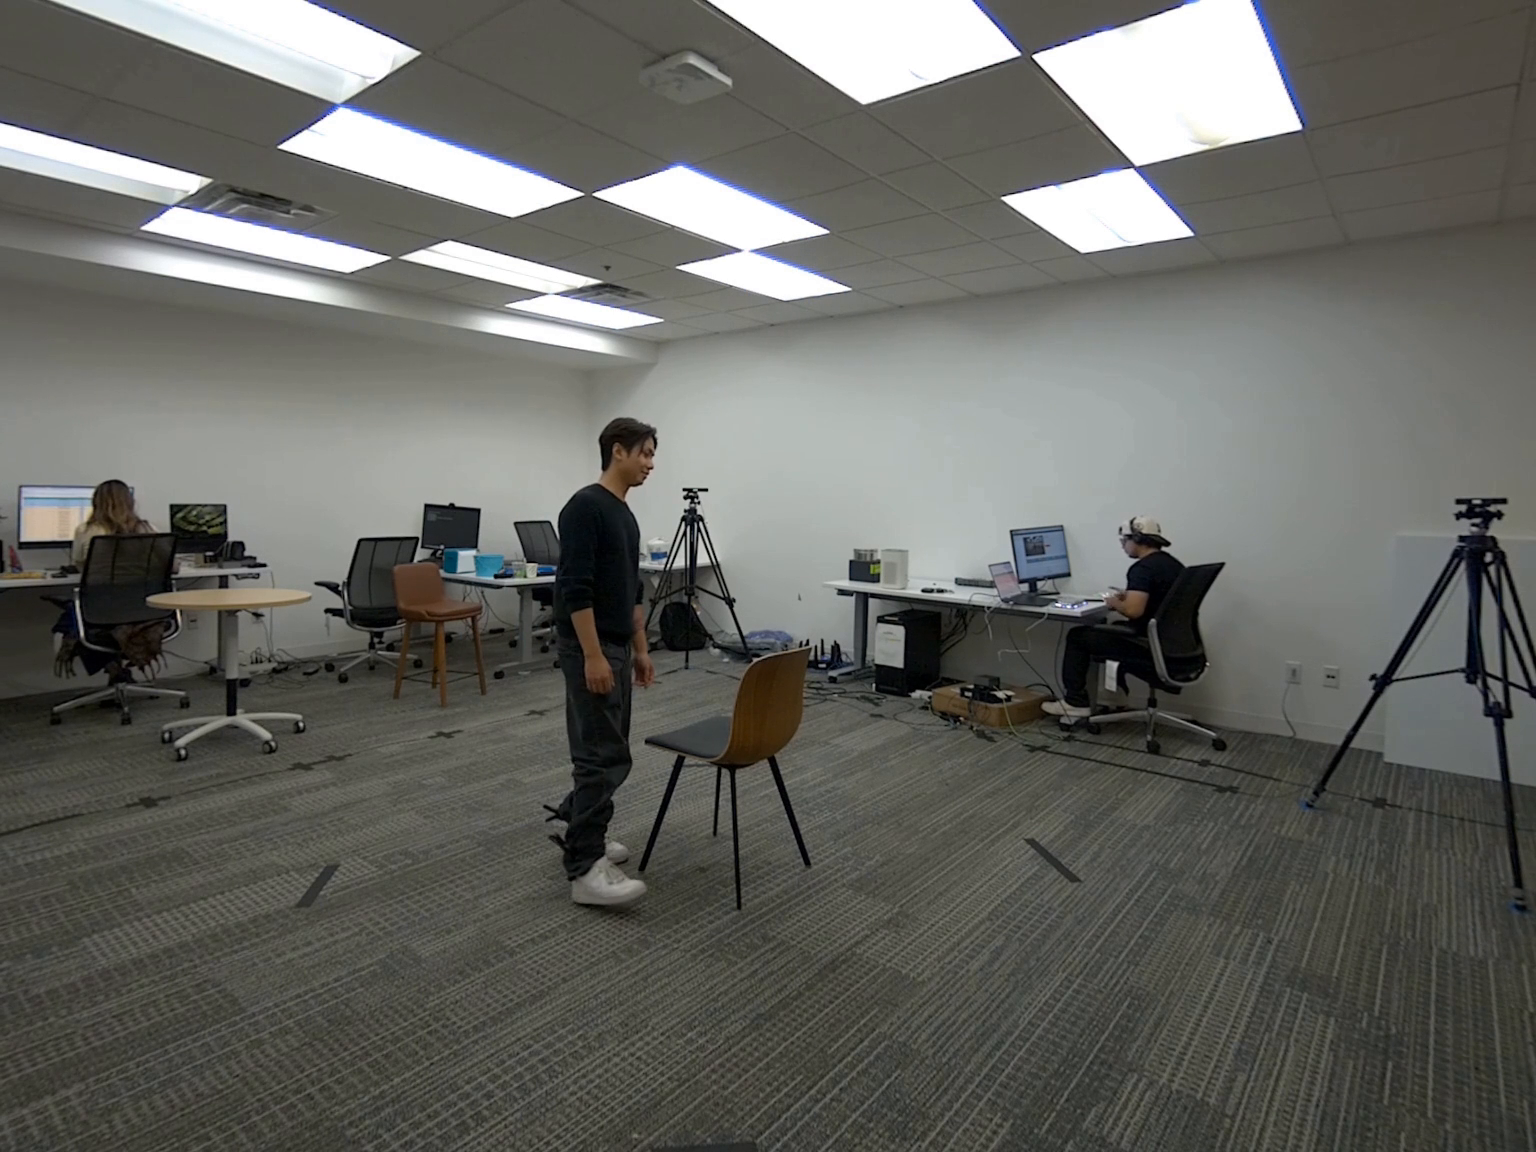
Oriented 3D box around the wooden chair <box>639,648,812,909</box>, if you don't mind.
[{"bbox_3d":[-0.161,0.646,3.096,0.541,0.873,0.464,9,8,36],"label":"wooden chair"}]
